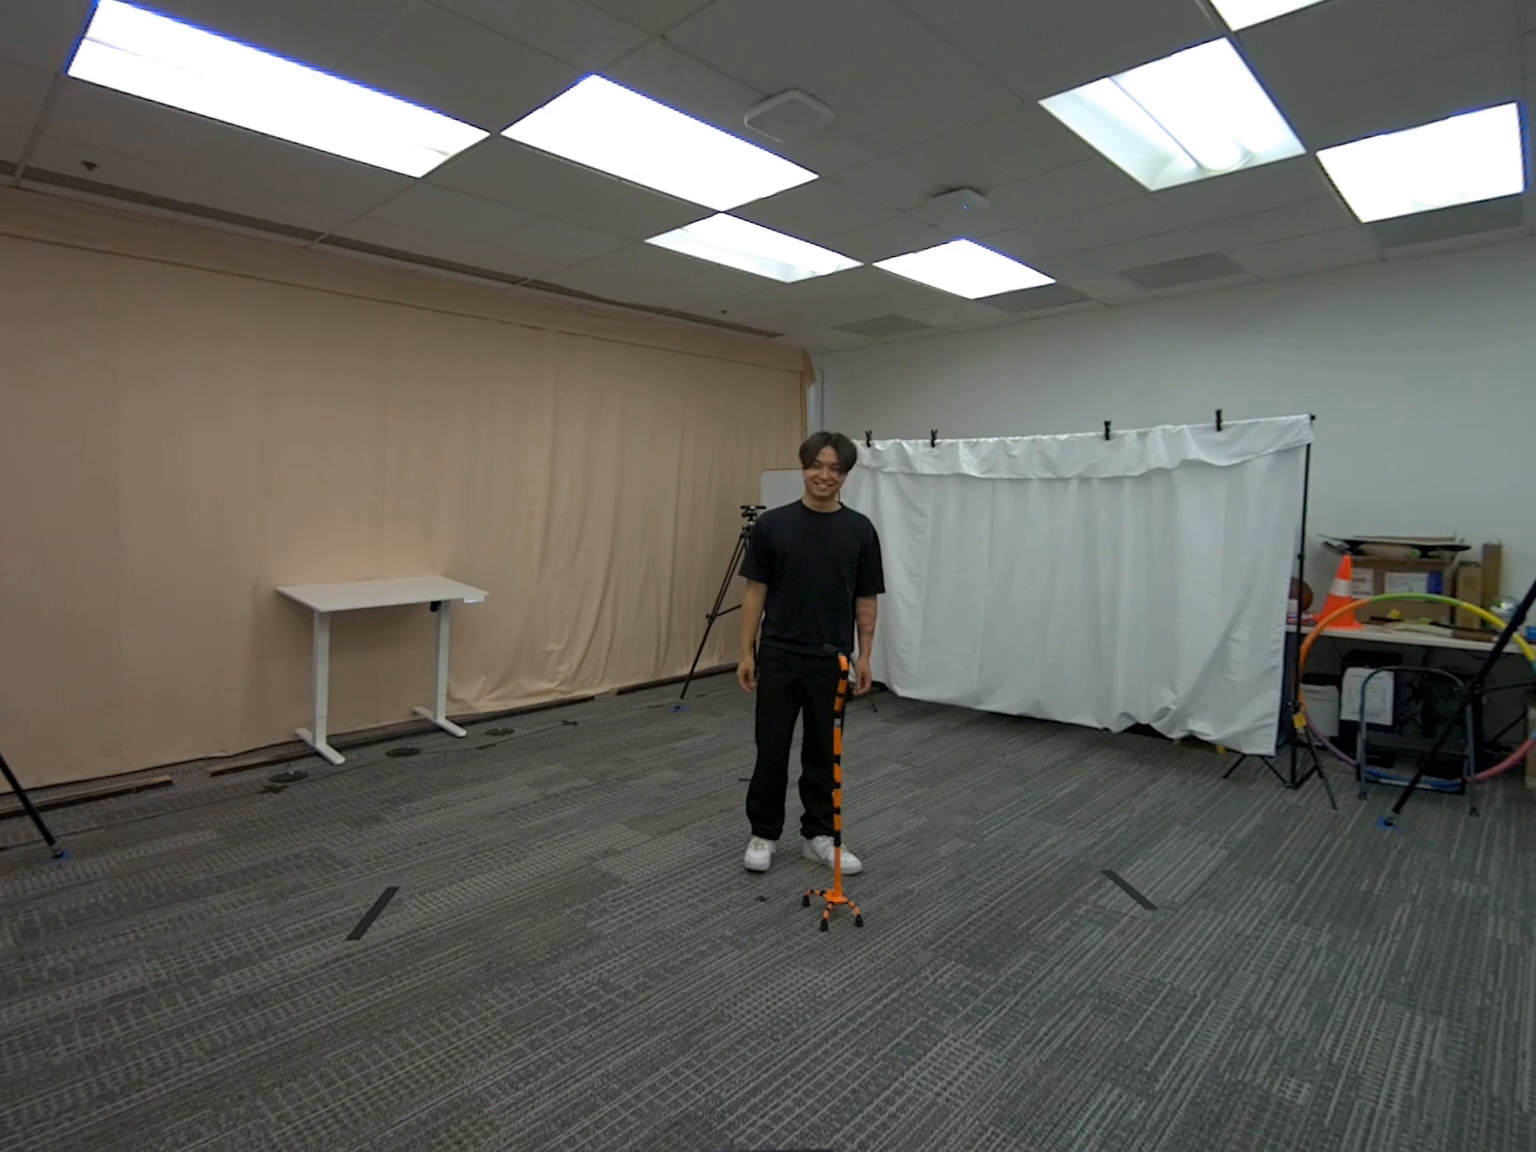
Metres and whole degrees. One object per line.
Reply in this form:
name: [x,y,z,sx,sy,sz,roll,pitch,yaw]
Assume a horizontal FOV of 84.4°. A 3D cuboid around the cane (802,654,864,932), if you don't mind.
cane: [0.221,0.696,2.847,0.149,0.906,0.210,-1,3,-18]
